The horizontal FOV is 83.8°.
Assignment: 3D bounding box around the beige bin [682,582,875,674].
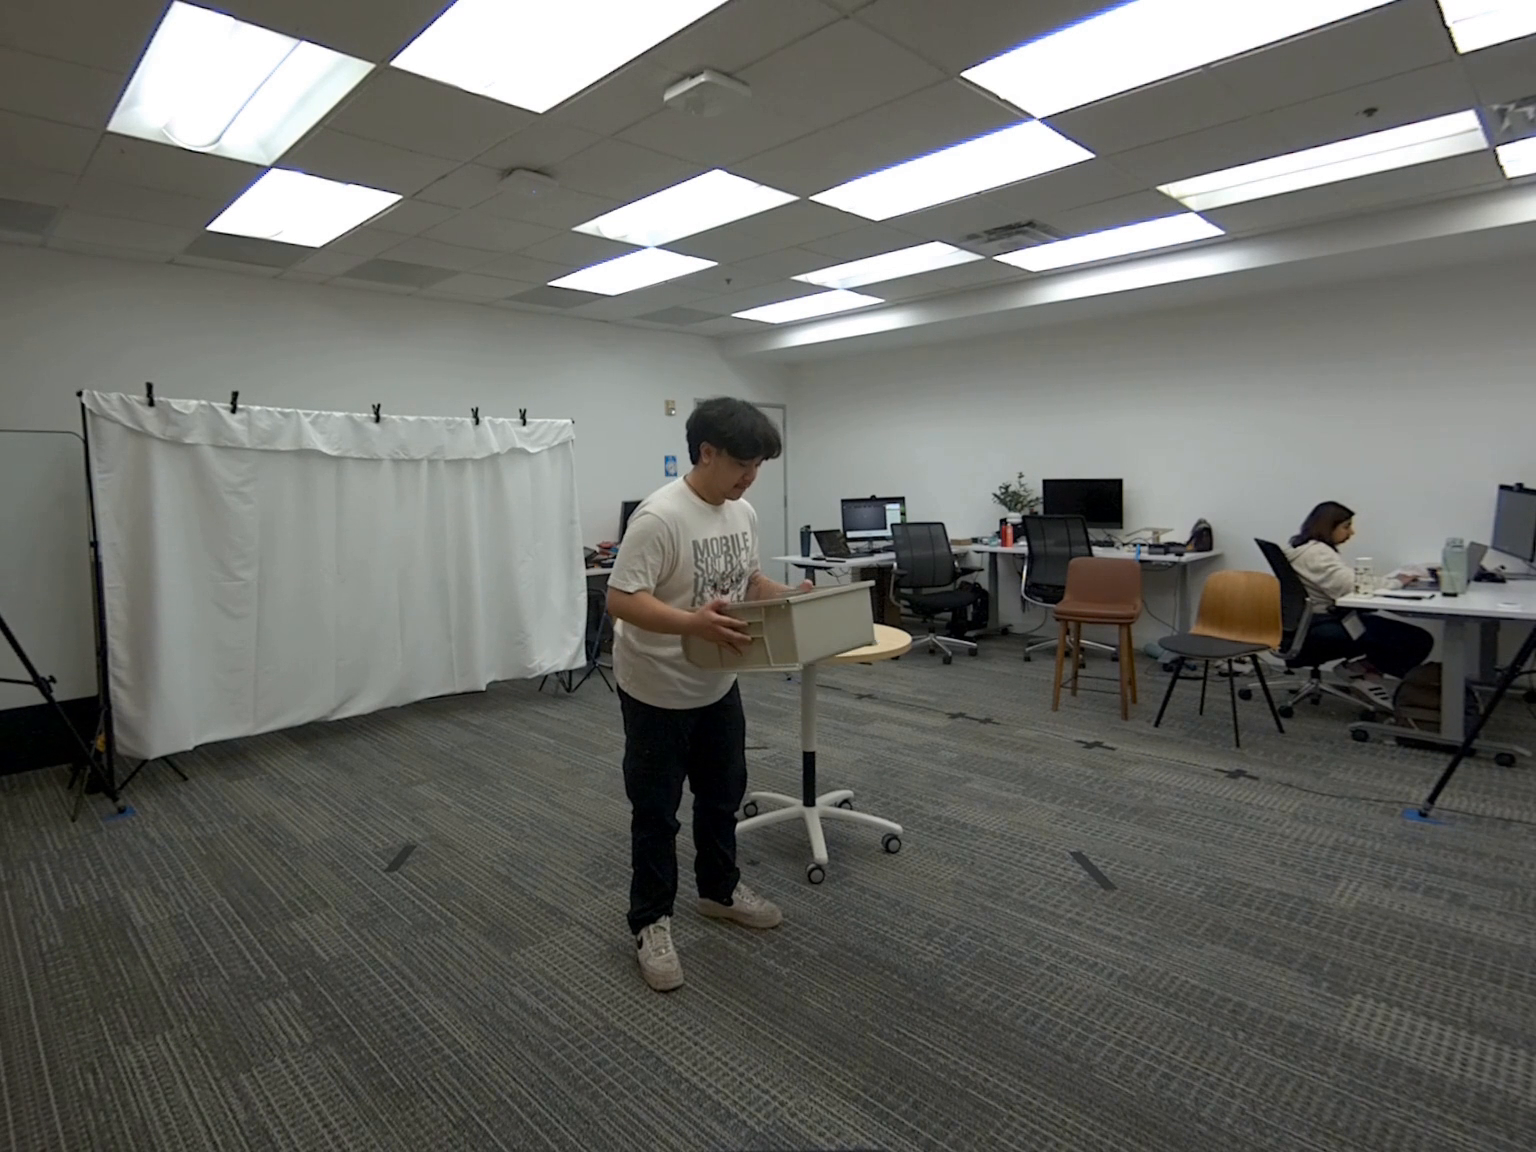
[{"bbox_3d":[0.043,0.144,2.338,0.387,0.189,0.411,-5,1,37],"label":"beige bin"}]
